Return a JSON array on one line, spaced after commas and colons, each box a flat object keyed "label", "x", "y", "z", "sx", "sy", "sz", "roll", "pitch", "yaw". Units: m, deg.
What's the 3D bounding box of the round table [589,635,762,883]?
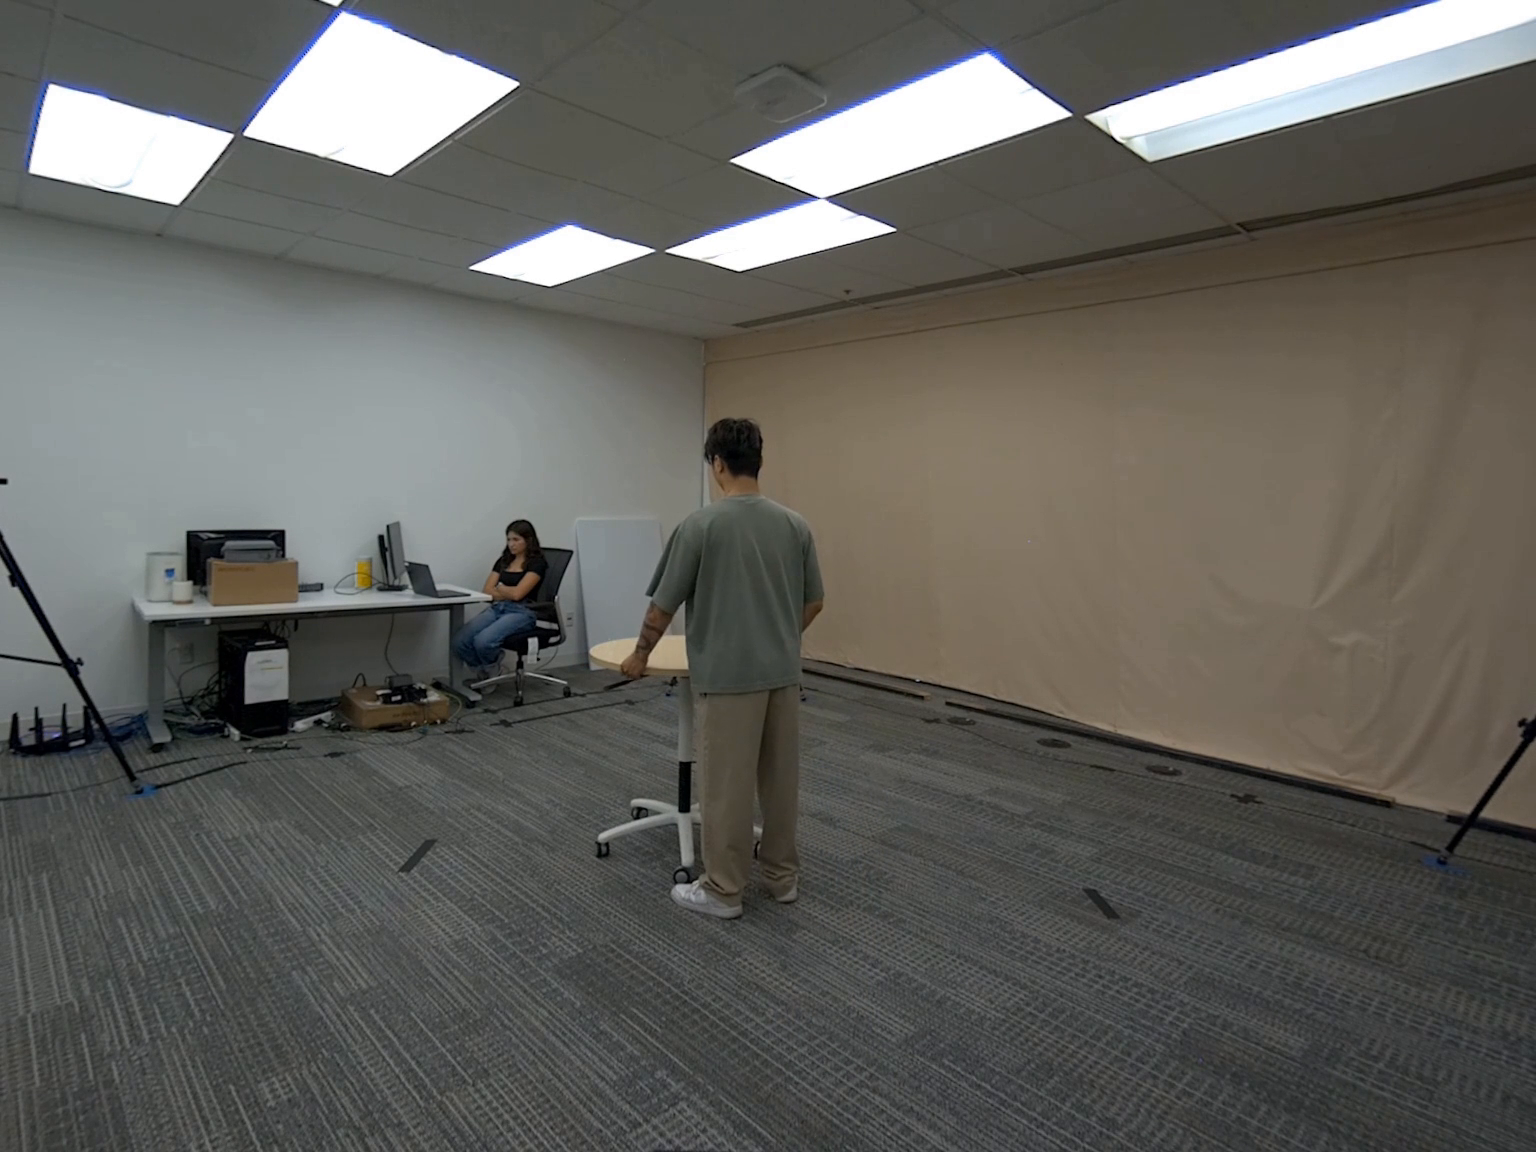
[{"label": "round table", "x": -0.328, "y": 0.687, "z": 3.344, "sx": 0.784, "sy": 0.785, "sz": 0.787, "roll": 1, "pitch": 4, "yaw": -1}]
